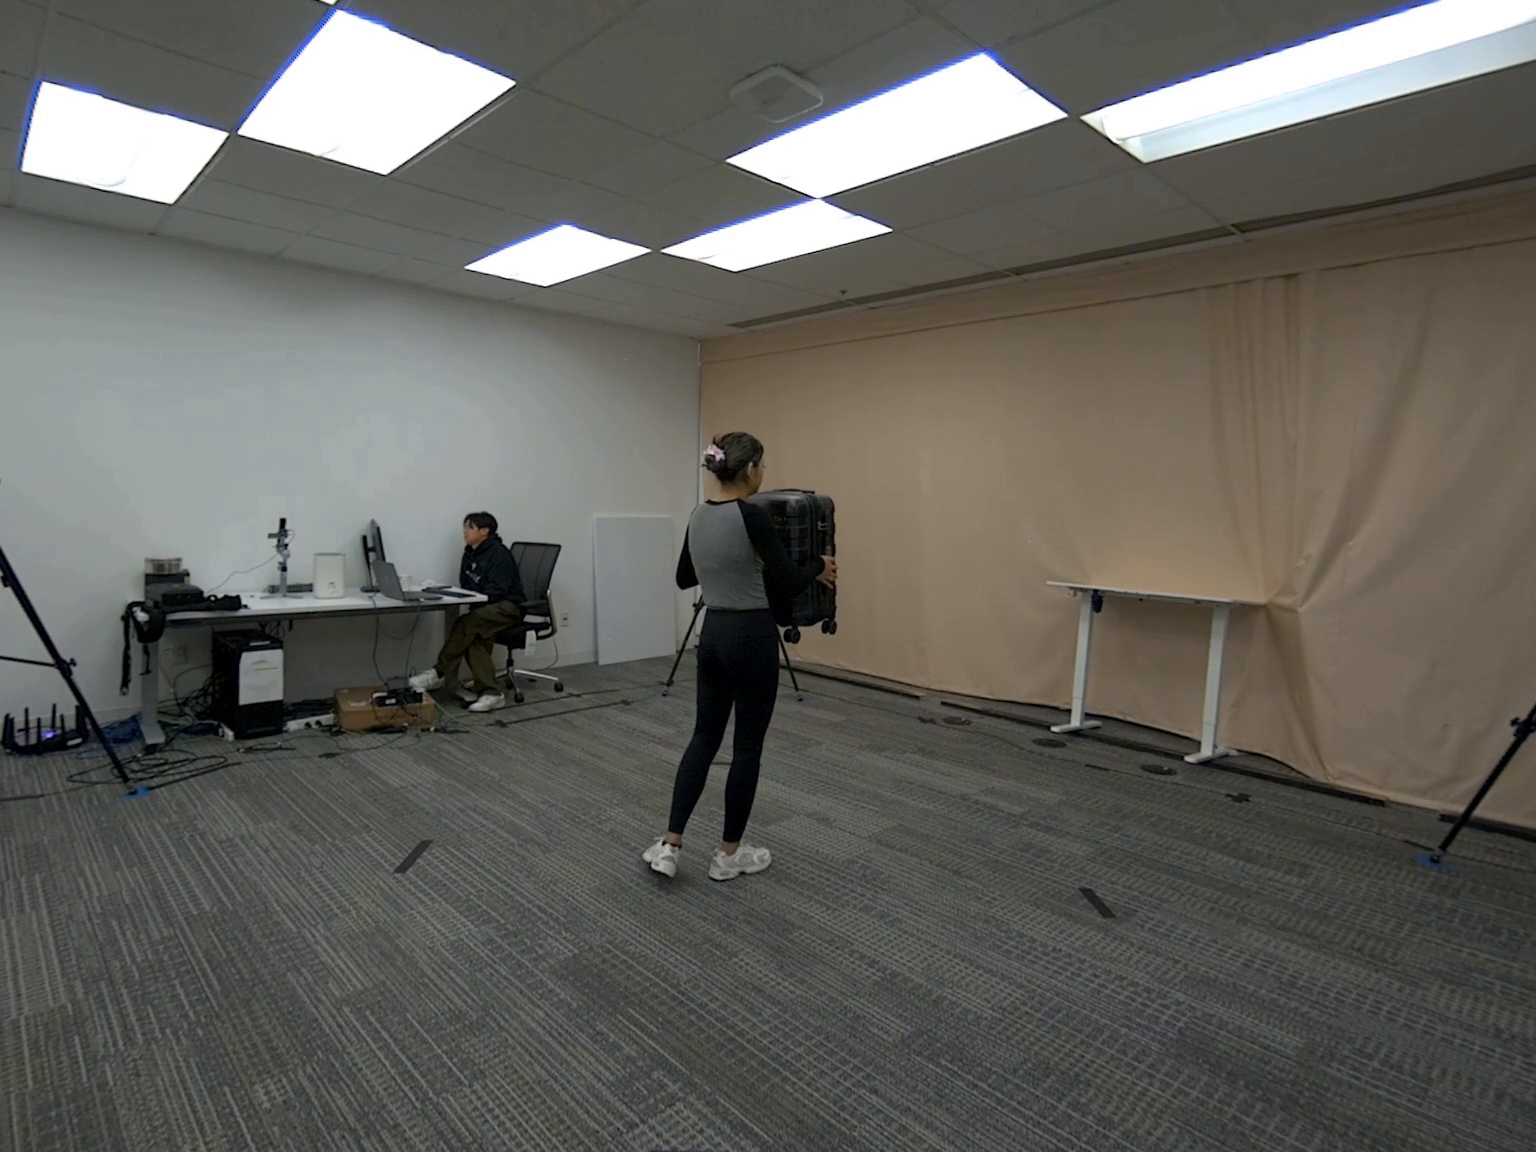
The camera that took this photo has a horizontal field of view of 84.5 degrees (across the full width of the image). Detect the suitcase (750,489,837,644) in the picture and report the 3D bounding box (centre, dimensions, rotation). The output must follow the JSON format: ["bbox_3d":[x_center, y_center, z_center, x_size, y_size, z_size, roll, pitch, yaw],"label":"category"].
[{"bbox_3d":[0.064,-0.060,3.258,0.243,0.546,0.385,-7,10,-42],"label":"suitcase"}]
